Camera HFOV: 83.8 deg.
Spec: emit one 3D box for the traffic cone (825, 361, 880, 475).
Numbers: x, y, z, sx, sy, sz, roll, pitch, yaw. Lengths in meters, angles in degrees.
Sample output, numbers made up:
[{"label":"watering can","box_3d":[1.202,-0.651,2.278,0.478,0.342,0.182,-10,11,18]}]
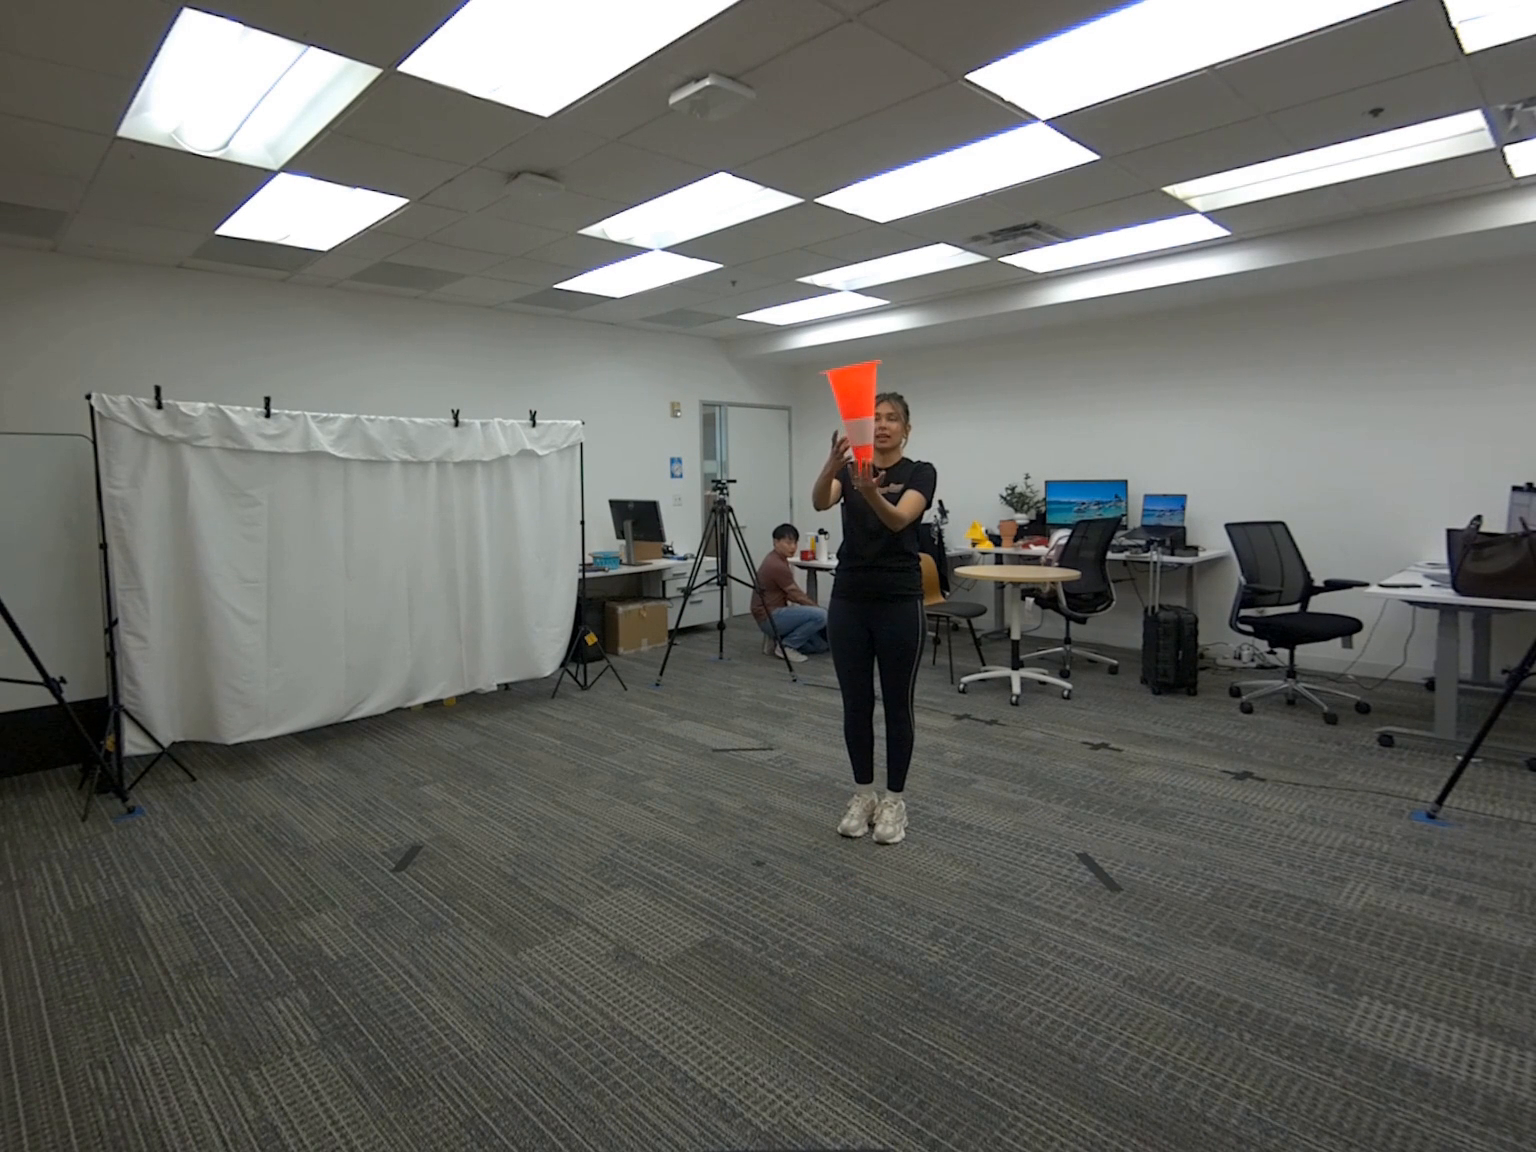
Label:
[{"label":"traffic cone","box_3d":[0.306,-0.495,2.801,0.207,0.380,0.203,-7,8,12]}]
